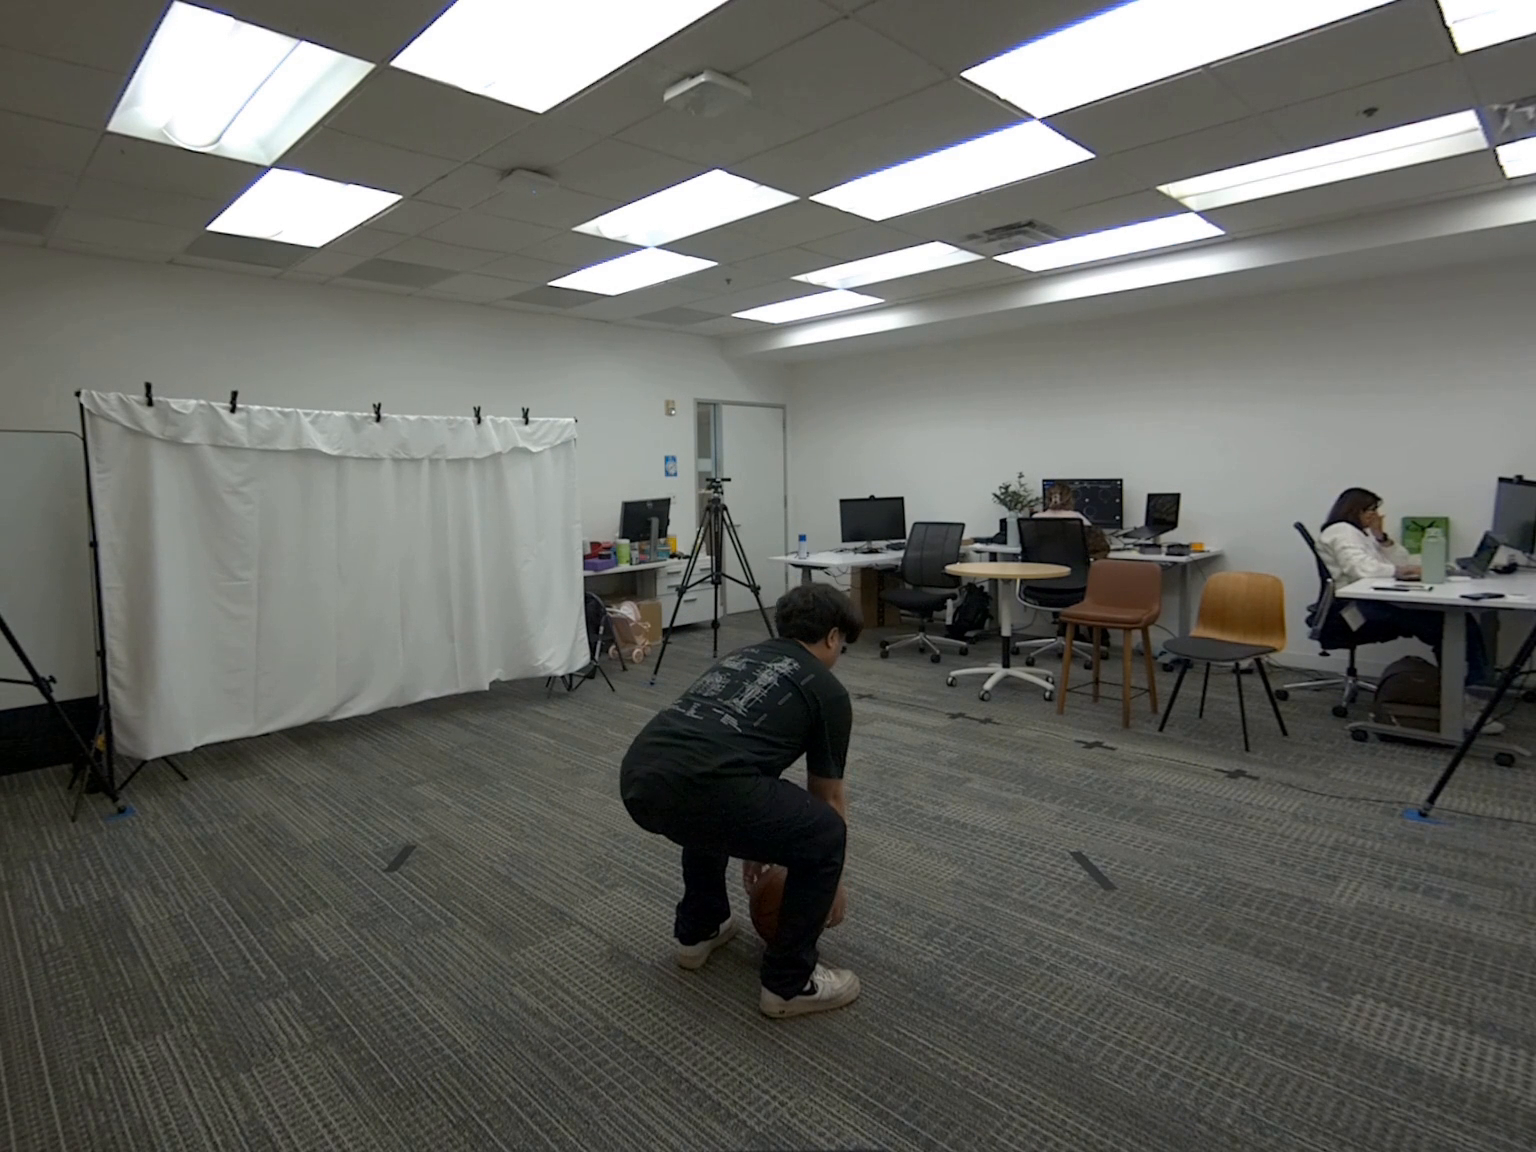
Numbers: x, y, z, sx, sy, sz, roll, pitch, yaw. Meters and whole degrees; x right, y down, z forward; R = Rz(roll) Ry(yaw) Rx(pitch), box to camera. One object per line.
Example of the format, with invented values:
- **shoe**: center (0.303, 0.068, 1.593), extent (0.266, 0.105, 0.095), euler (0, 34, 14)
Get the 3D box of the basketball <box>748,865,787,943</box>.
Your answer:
- **basketball**: center (0.064, 0.977, 2.562), extent (0.236, 0.235, 0.237), euler (-1, 5, -2)
